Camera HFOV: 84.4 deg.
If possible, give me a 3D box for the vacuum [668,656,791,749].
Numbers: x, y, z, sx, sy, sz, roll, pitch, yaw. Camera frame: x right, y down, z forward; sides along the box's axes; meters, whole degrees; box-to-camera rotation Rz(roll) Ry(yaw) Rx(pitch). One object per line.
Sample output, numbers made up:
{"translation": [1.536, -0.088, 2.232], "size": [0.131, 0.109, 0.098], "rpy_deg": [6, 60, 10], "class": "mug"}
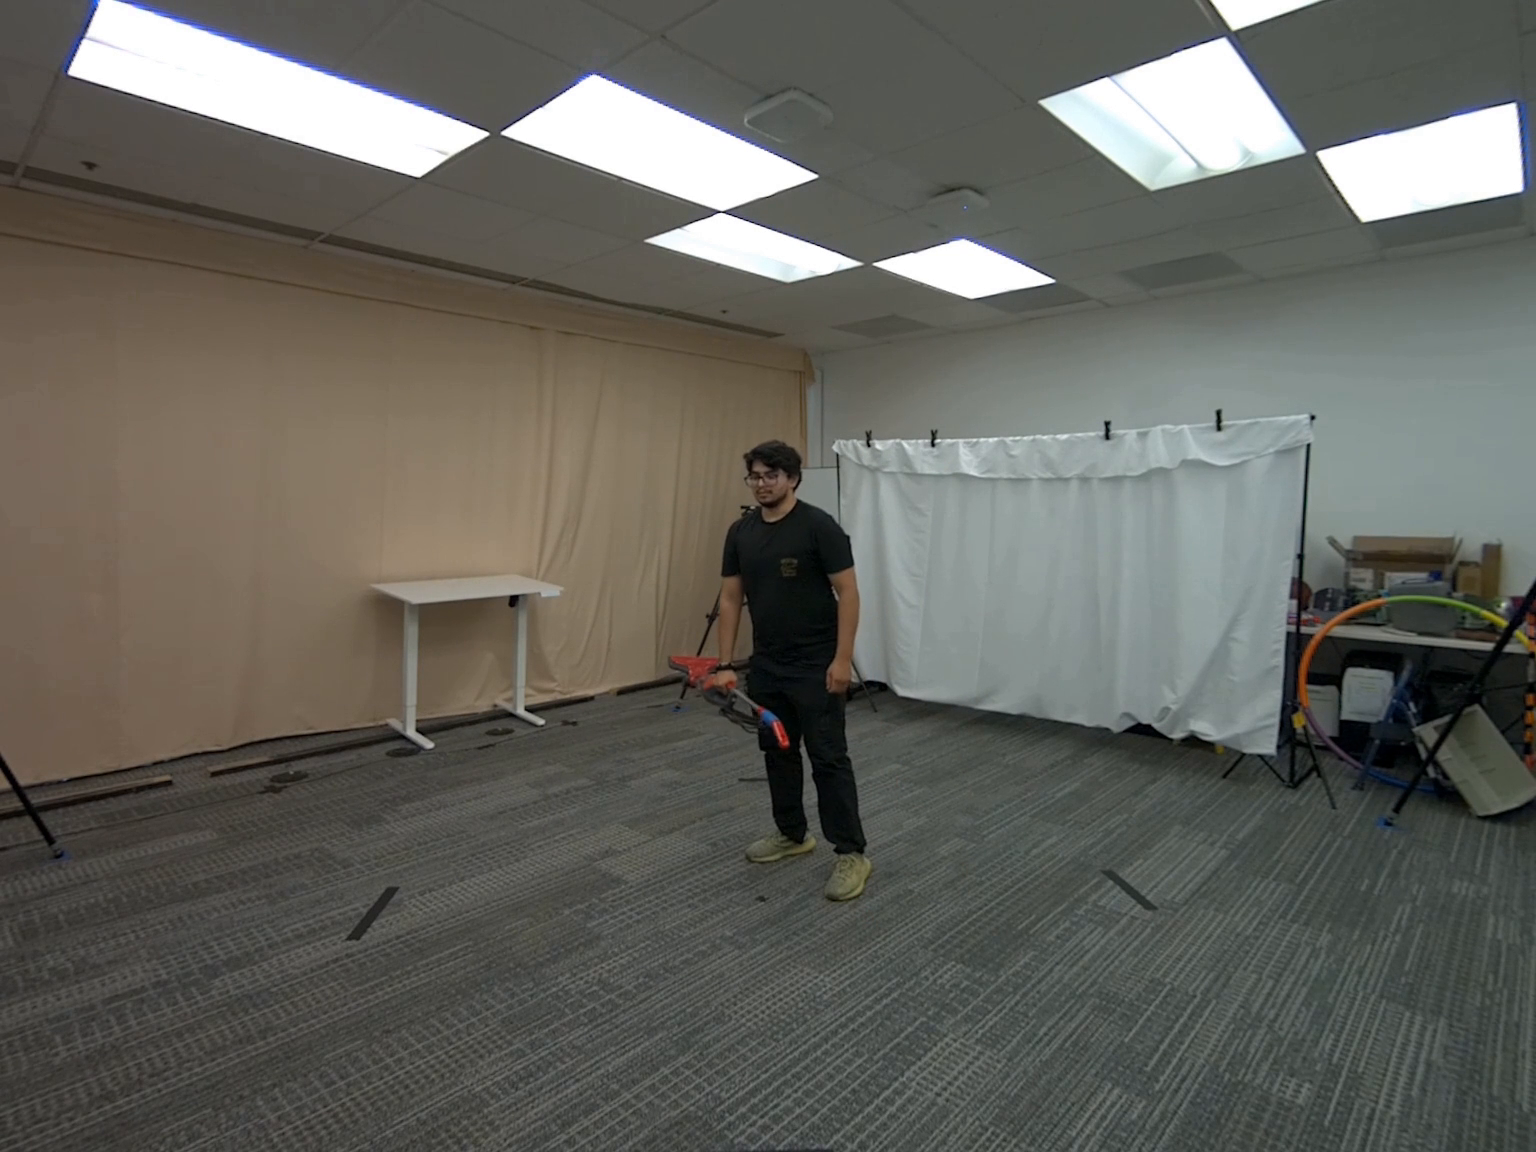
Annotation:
{"translation": [-0.133, 0.487, 3.170], "size": [0.248, 0.143, 1.072], "rpy_deg": [5, 6, -19], "class": "vacuum"}
